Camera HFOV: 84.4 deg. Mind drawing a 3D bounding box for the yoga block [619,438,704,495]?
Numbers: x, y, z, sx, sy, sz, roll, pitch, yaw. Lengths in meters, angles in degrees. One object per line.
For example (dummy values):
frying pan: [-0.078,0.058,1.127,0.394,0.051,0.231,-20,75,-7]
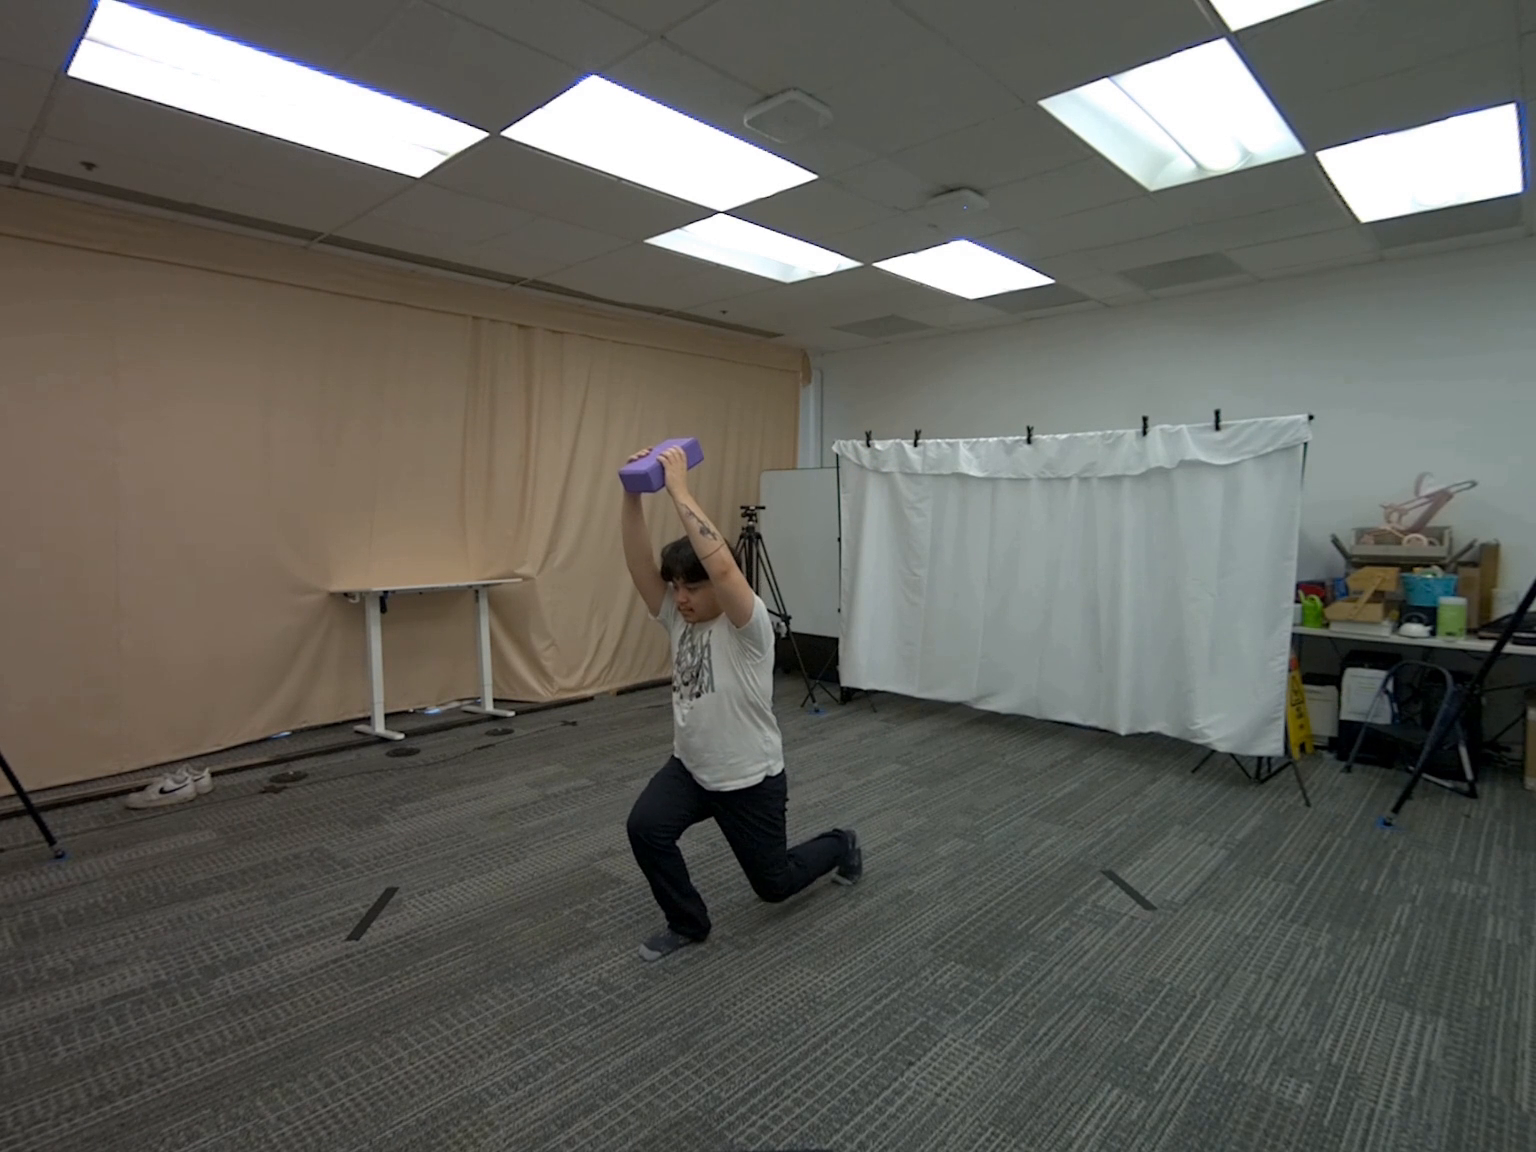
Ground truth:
yoga block: [-0.321,-0.340,2.557,0.154,0.075,0.226,6,36,45]
